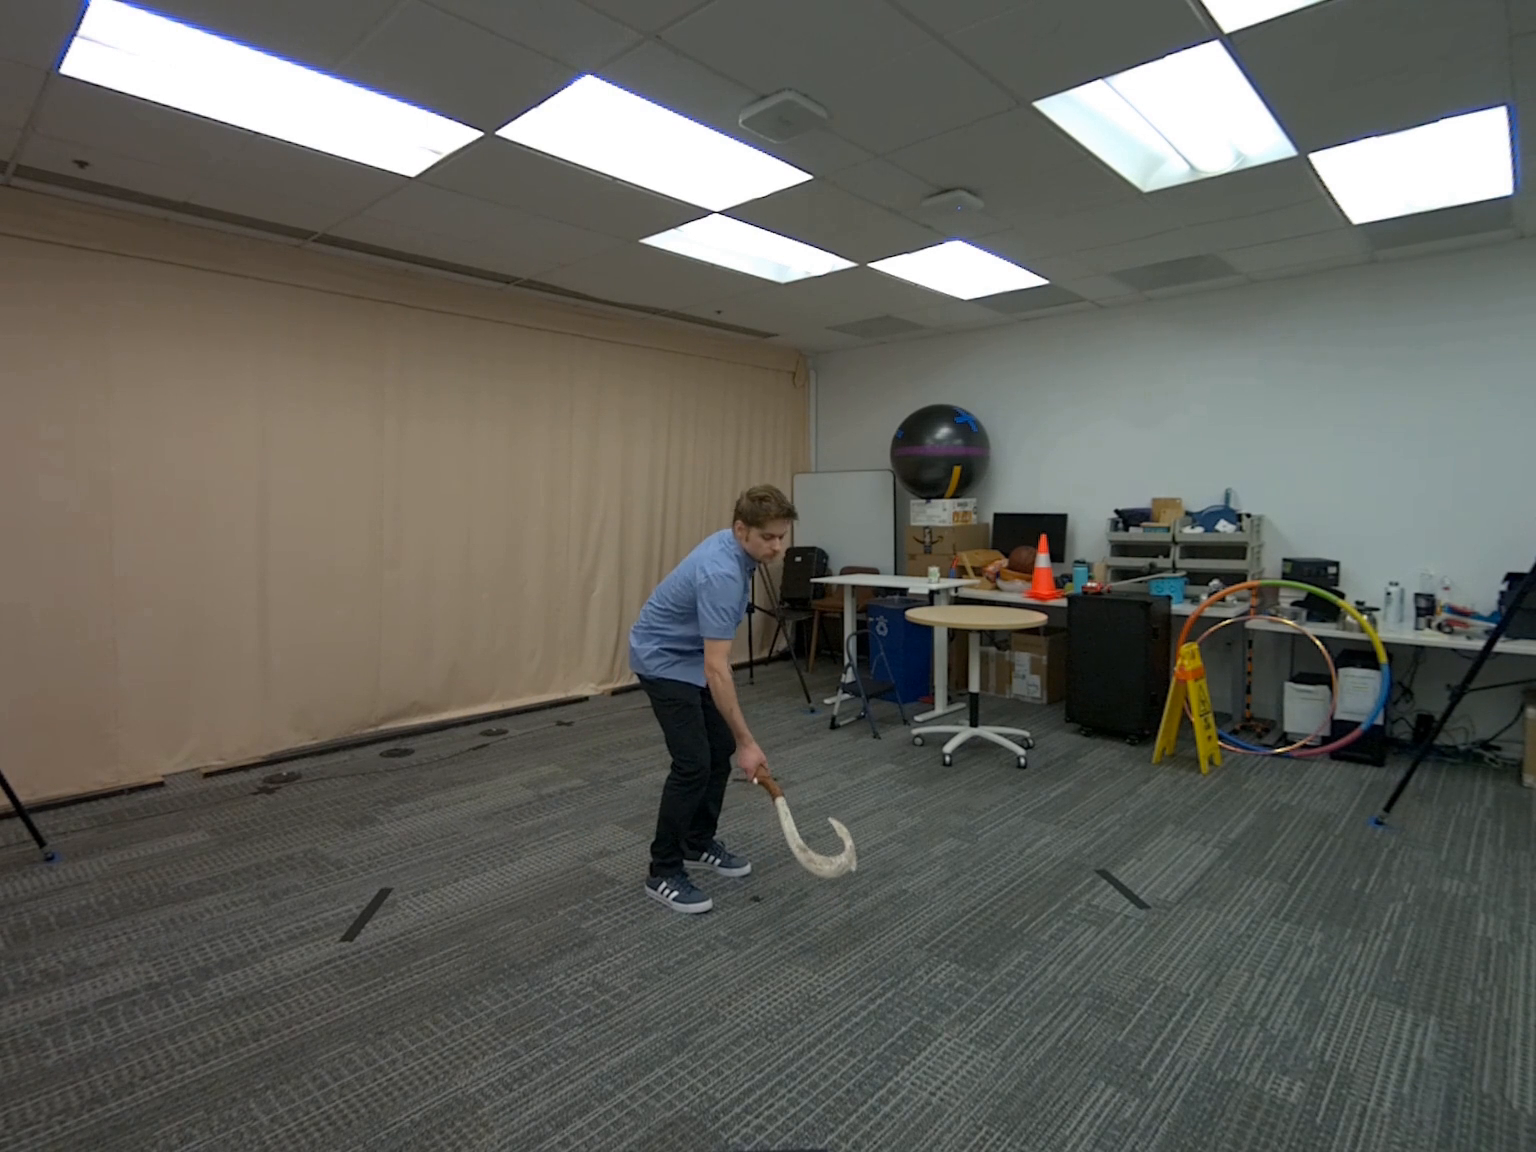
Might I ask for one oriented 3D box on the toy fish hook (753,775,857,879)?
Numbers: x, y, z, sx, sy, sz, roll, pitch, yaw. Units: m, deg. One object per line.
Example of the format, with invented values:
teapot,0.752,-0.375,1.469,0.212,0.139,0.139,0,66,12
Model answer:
toy fish hook,0.113,0.738,2.705,0.218,0.048,0.524,0,34,-35
